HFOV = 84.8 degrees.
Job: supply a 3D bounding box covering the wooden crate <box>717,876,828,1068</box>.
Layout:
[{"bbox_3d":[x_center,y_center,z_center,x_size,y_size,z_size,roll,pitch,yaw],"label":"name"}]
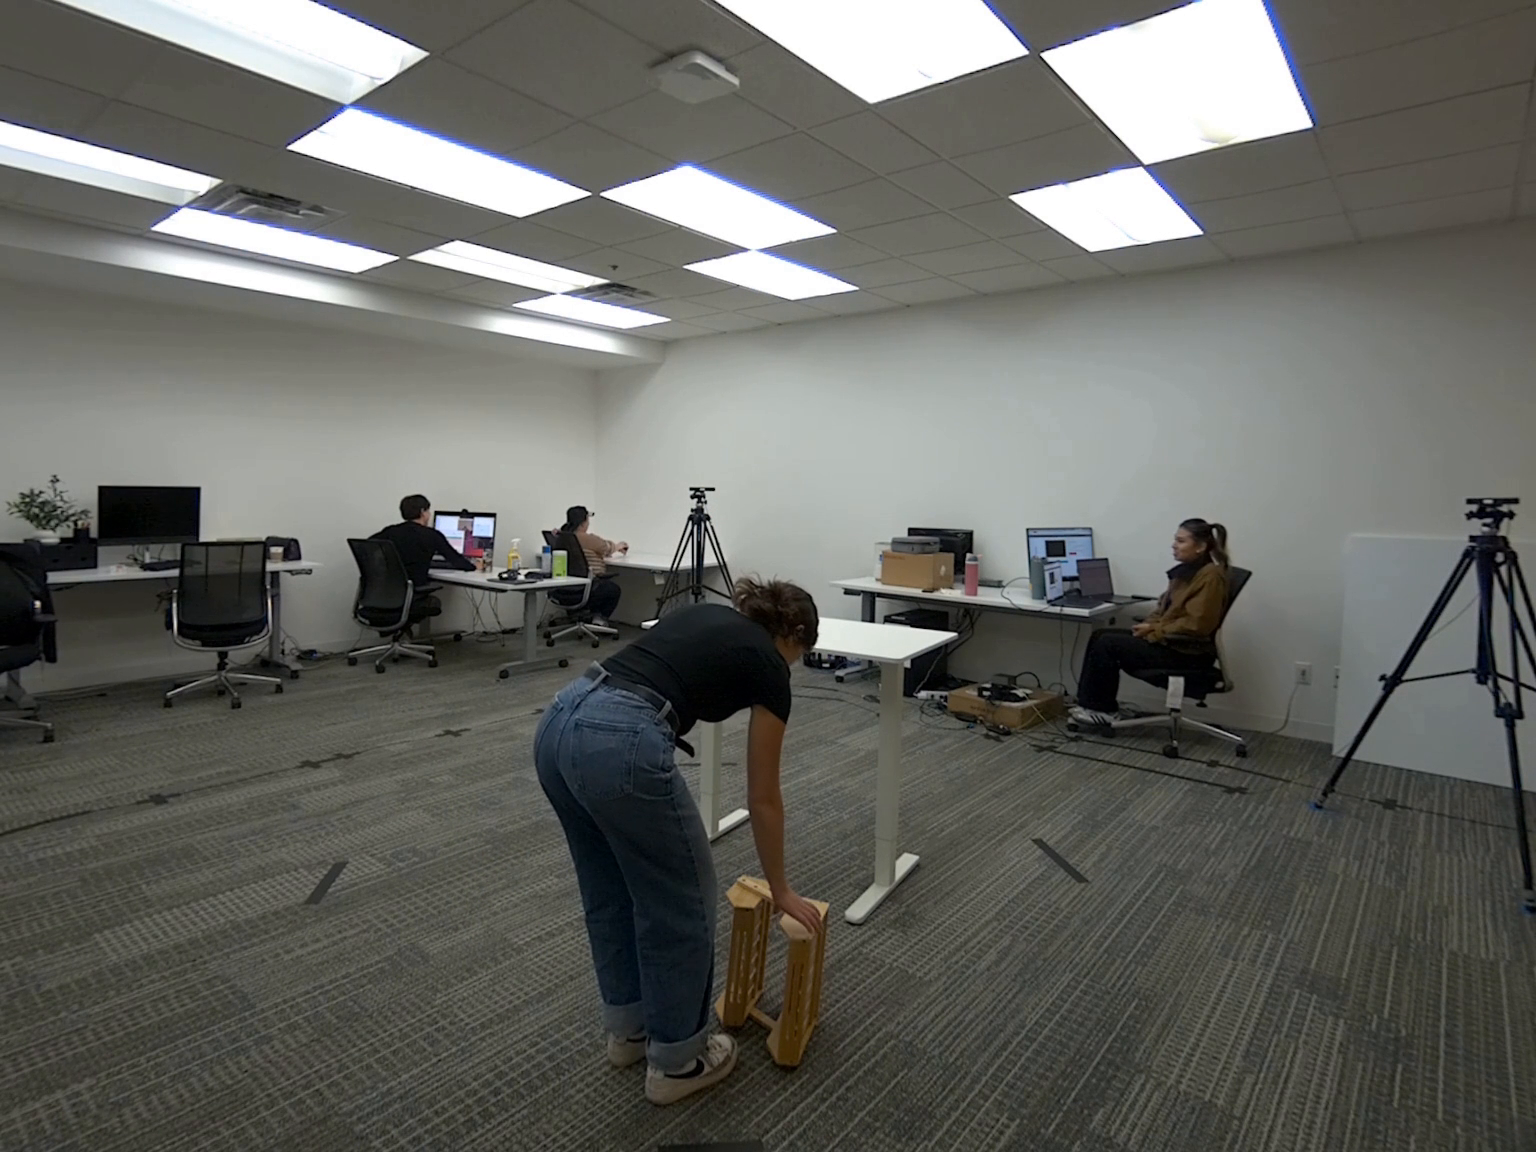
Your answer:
[{"bbox_3d":[-0.010,1.000,2.187,0.279,0.324,0.296,5,0,17],"label":"wooden crate"}]
